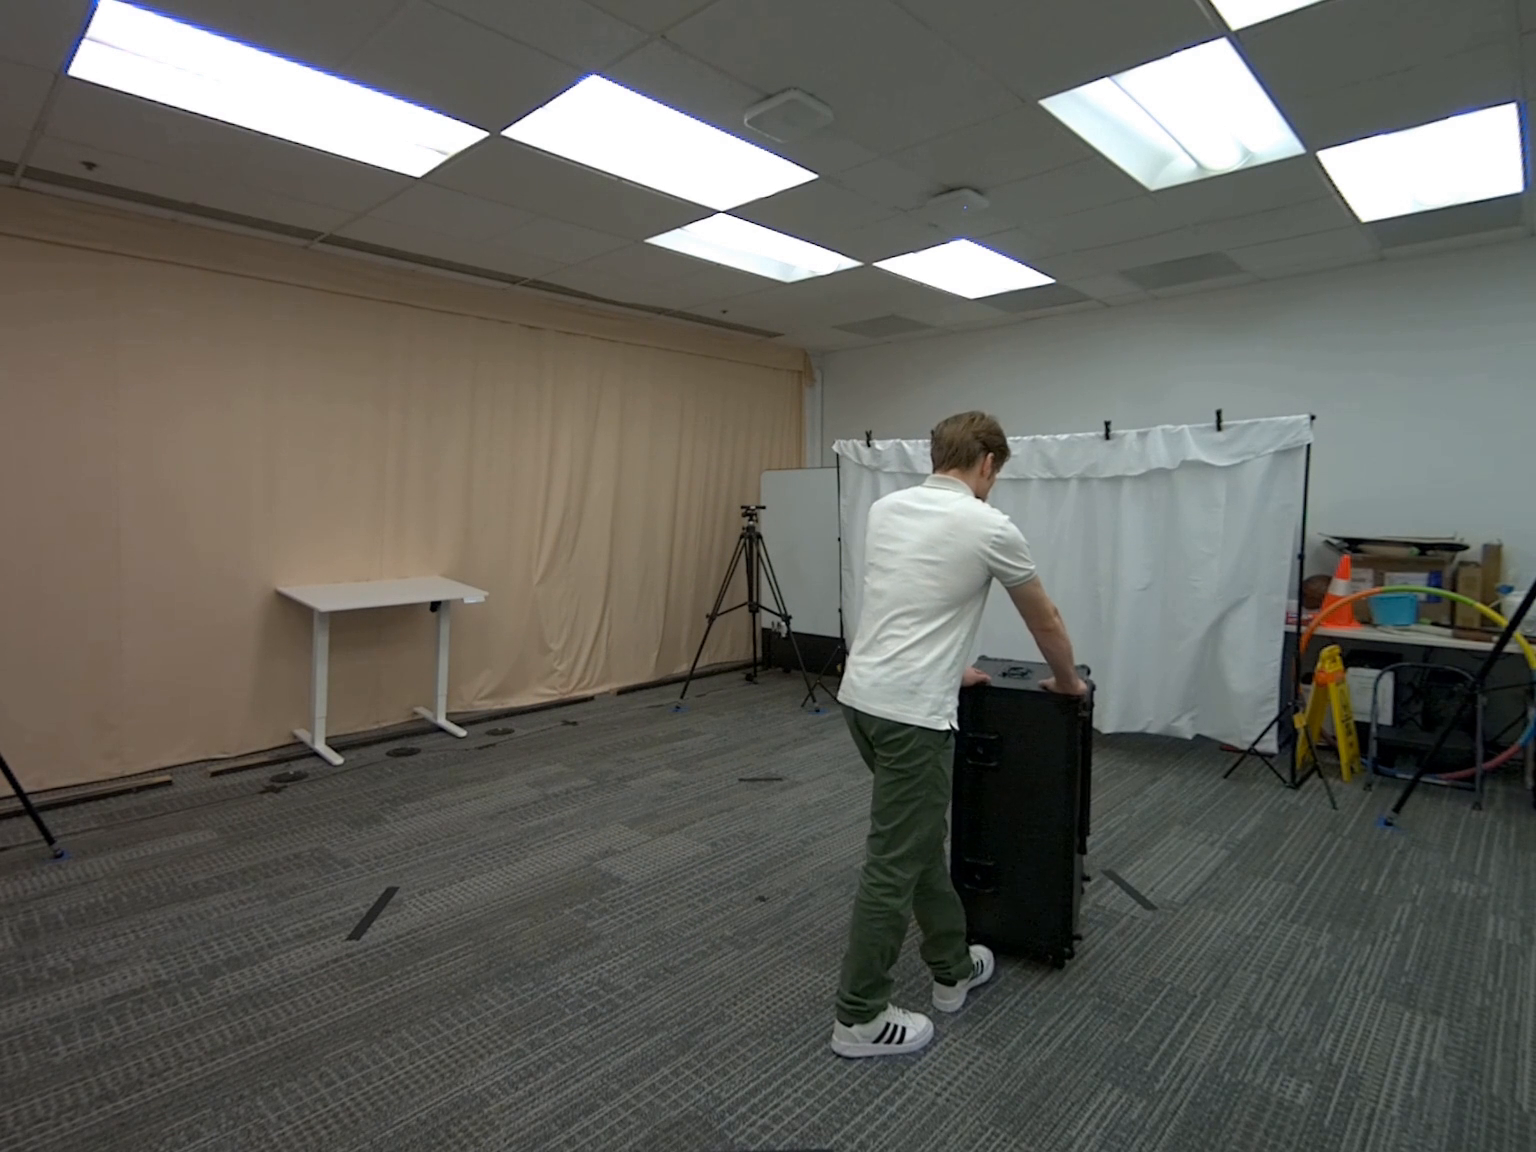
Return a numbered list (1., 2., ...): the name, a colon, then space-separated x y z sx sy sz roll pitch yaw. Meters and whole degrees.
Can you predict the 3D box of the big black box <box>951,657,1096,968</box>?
1. big black box: 0.832 0.740 2.718 0.395 0.866 0.511 2 4 25
